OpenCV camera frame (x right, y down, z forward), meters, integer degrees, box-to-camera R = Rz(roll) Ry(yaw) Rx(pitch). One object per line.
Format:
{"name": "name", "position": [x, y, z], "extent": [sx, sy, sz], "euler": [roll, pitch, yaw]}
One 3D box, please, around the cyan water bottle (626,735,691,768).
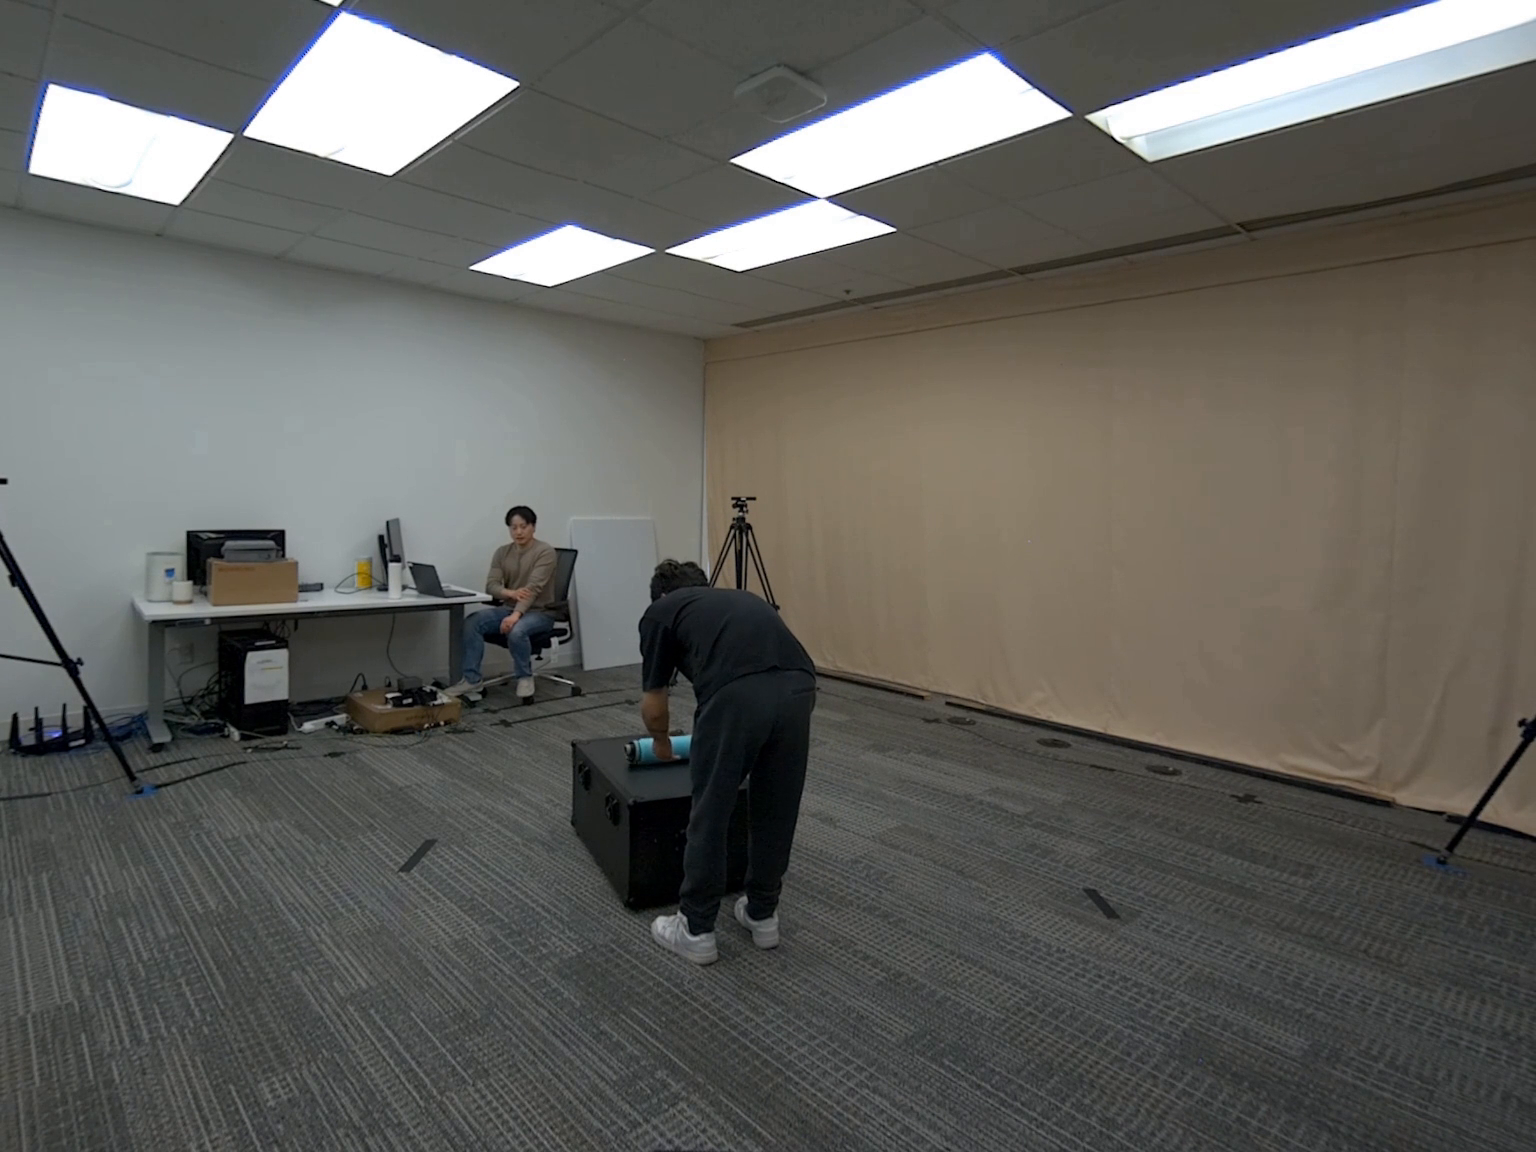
{"name": "cyan water bottle", "position": [-0.418, 0.665, 3.224], "extent": [0.278, 0.092, 0.094], "euler": [-1, 5, -24]}
